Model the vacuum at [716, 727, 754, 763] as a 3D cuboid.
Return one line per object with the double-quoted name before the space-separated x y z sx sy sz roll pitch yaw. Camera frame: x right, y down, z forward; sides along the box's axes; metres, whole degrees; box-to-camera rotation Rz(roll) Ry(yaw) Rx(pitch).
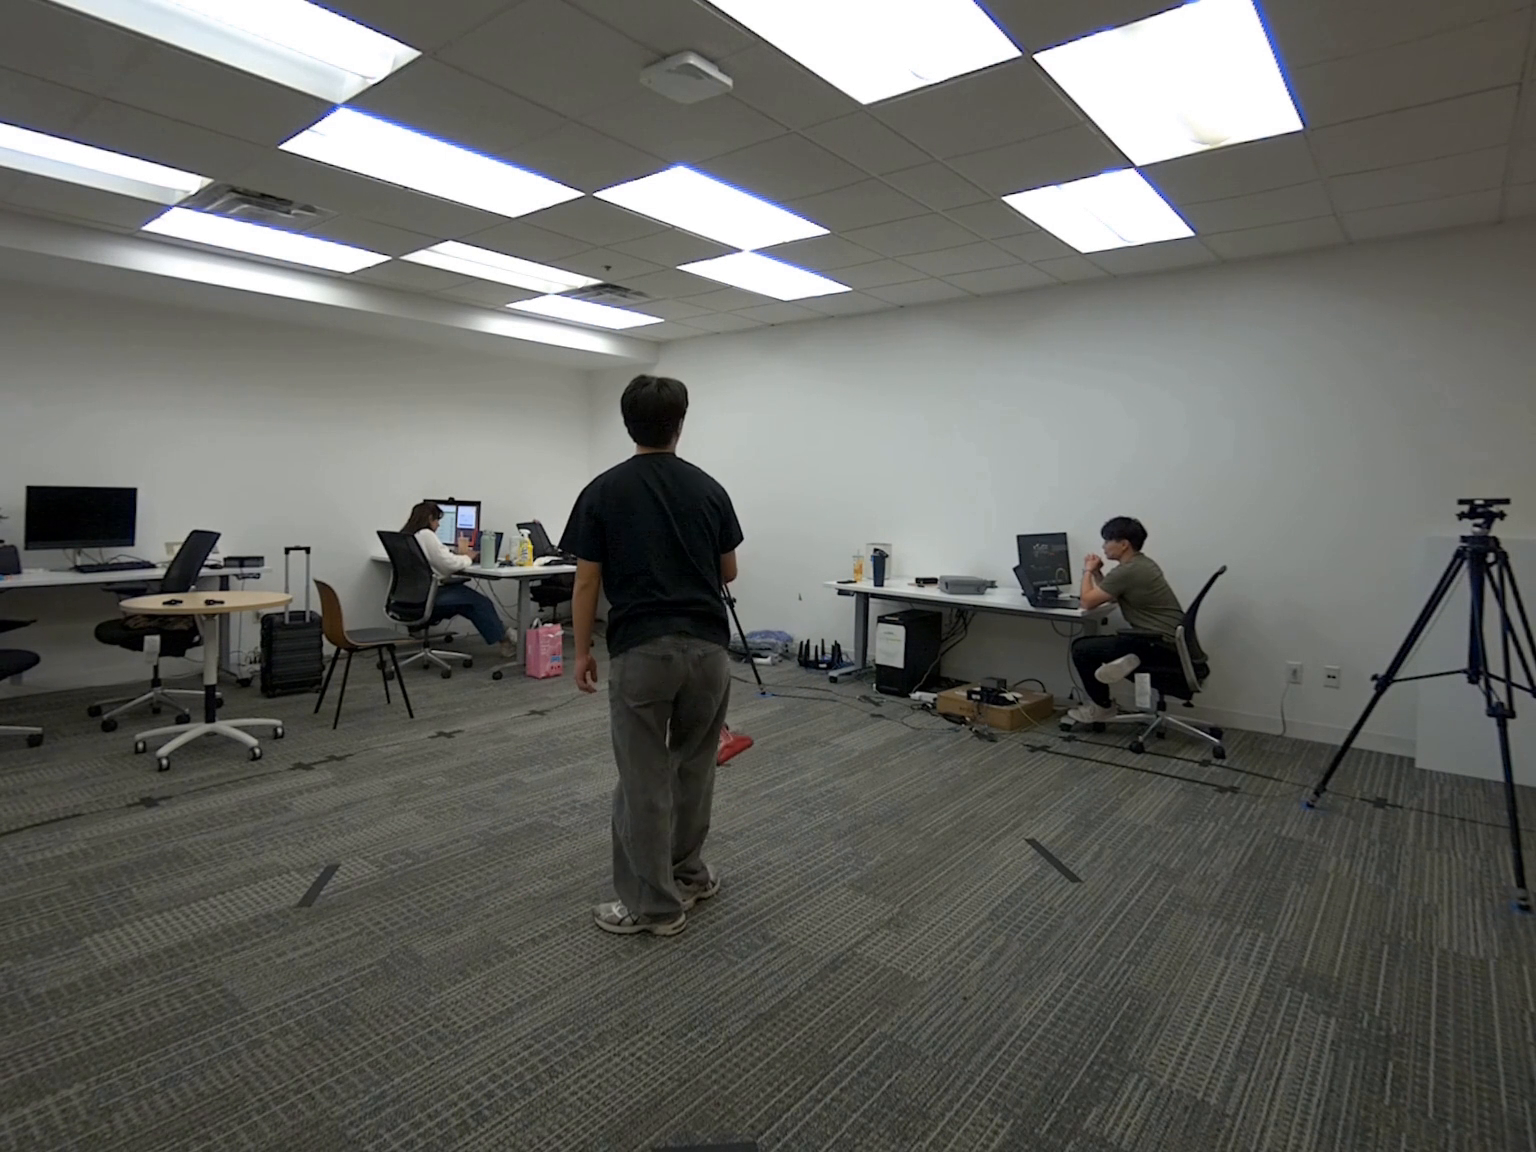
"vacuum" -0.286 0.118 3.179 0.147 1.051 0.246 -13 -2 38
